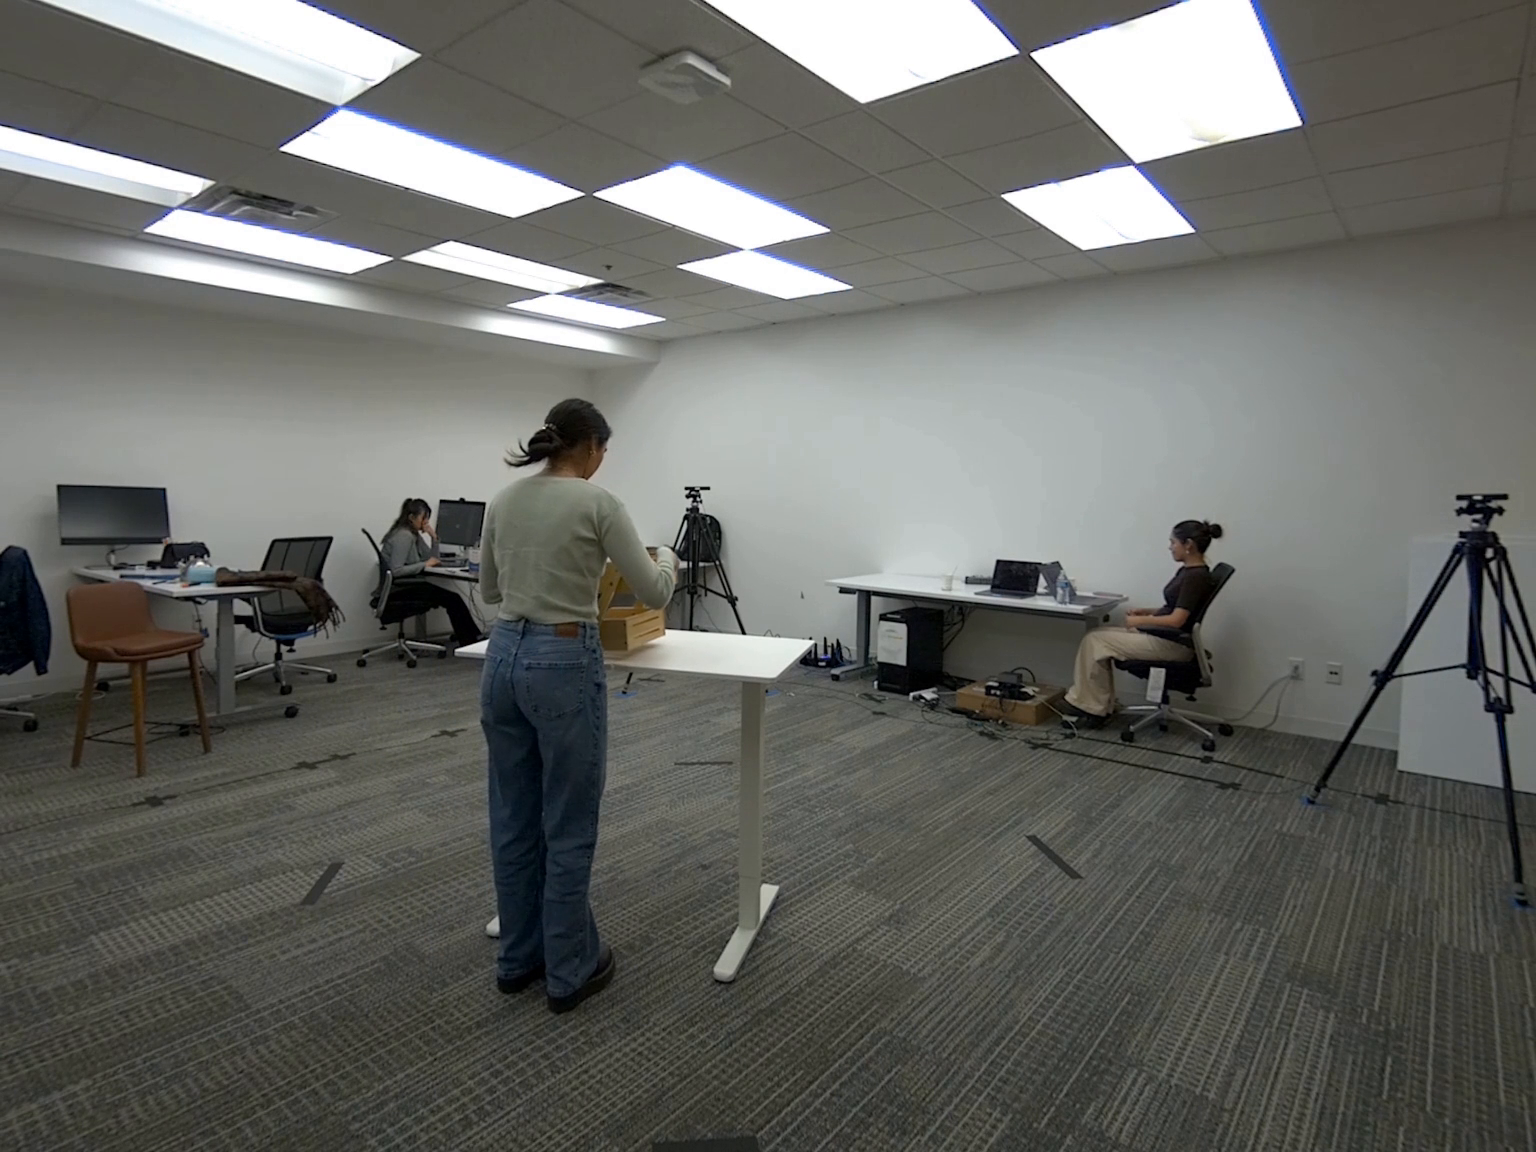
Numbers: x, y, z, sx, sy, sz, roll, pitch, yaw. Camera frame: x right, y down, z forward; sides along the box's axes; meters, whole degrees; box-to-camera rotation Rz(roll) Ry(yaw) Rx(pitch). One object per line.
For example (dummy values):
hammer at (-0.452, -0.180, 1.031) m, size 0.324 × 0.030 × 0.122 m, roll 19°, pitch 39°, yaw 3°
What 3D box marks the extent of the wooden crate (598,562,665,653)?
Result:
wooden crate at (-0.485, 0.069, 2.643) m, size 0.307 × 0.273 × 0.320 m, roll -1°, pitch 3°, yaw 16°
